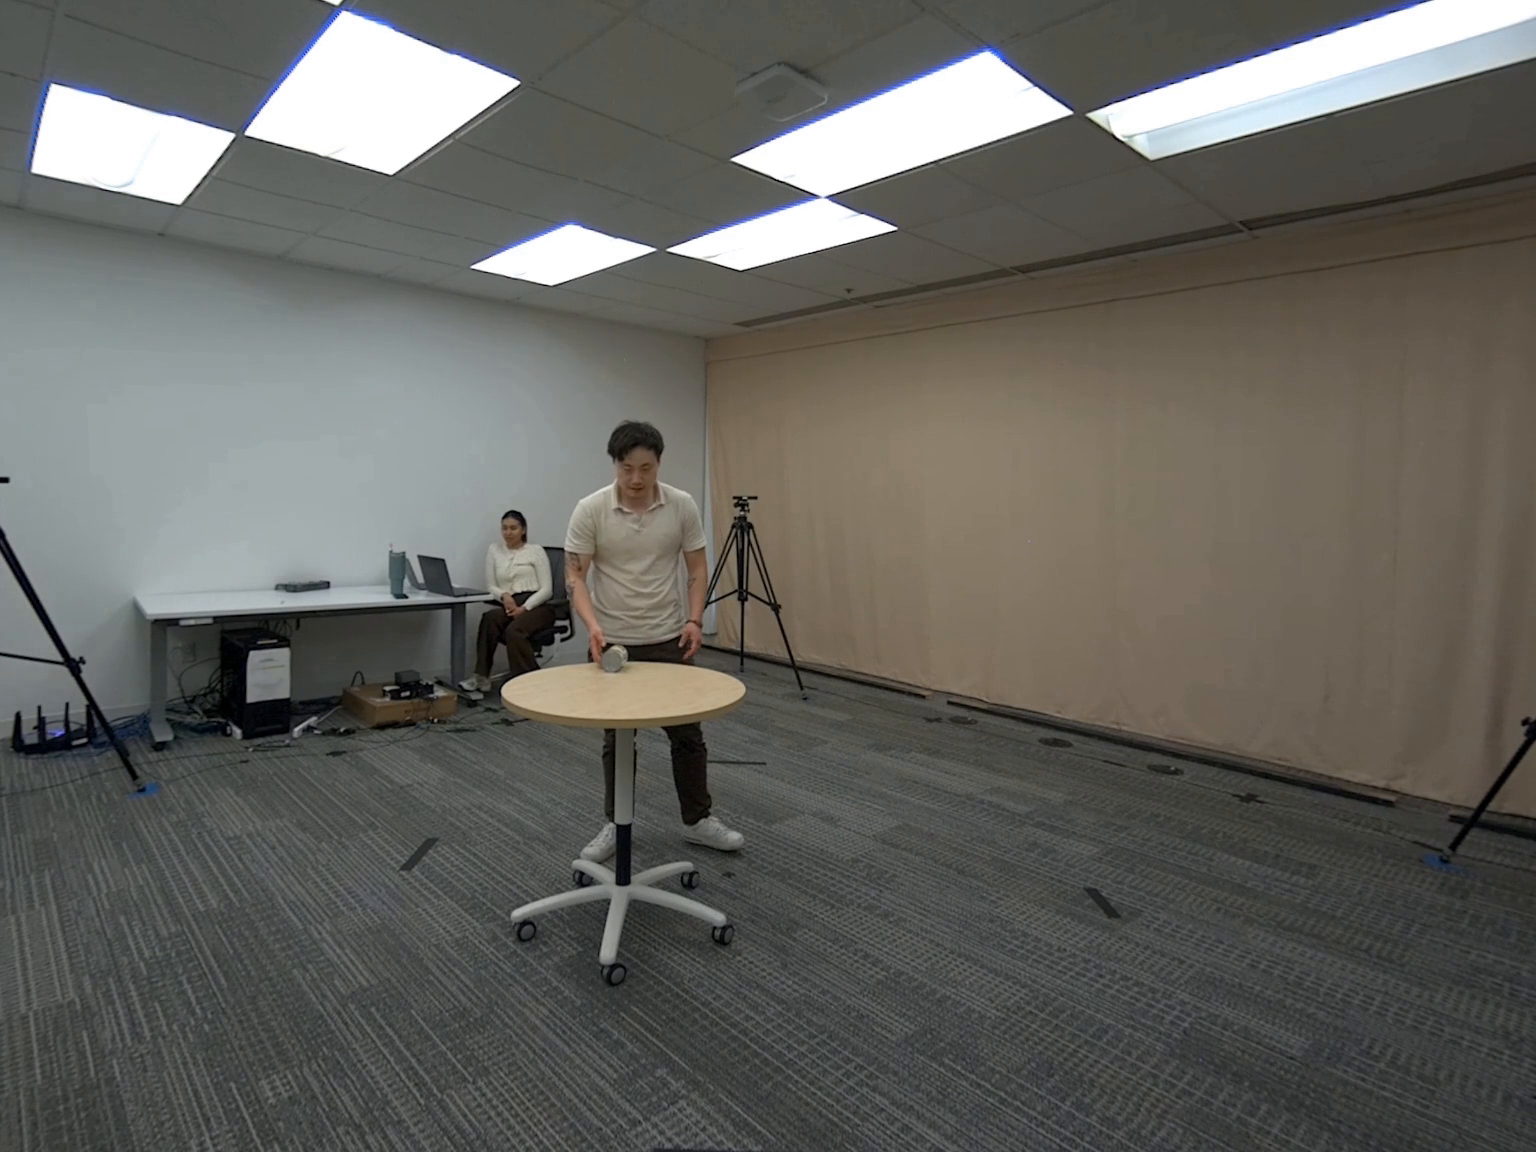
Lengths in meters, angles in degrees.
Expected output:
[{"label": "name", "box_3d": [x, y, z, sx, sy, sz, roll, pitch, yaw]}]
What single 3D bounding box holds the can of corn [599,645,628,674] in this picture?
[{"label": "can of corn", "box_3d": [-0.549, 0.288, 2.926, 0.074, 0.074, 0.111, 1, 5, 1]}]
